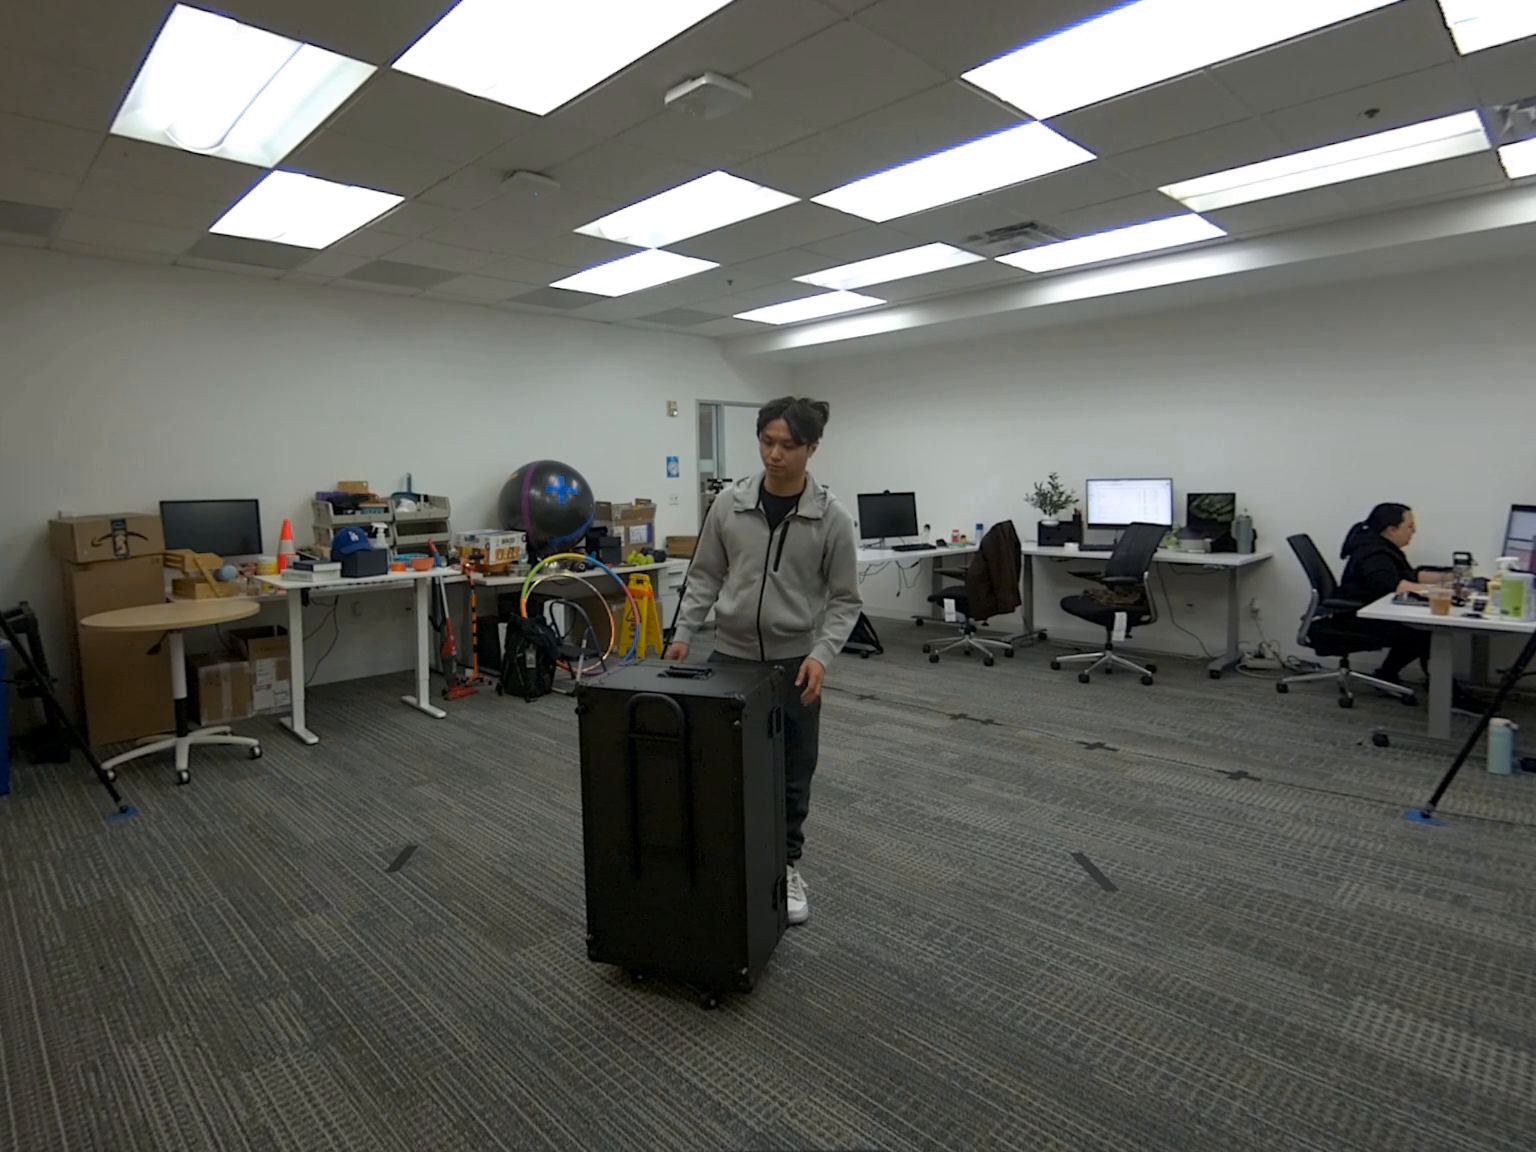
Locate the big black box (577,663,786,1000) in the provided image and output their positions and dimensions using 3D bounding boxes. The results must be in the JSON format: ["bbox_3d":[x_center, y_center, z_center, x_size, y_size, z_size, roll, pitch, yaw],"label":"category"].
[{"bbox_3d":[-0.231,0.701,2.416,0.532,0.858,0.390,0,5,21],"label":"big black box"}]
